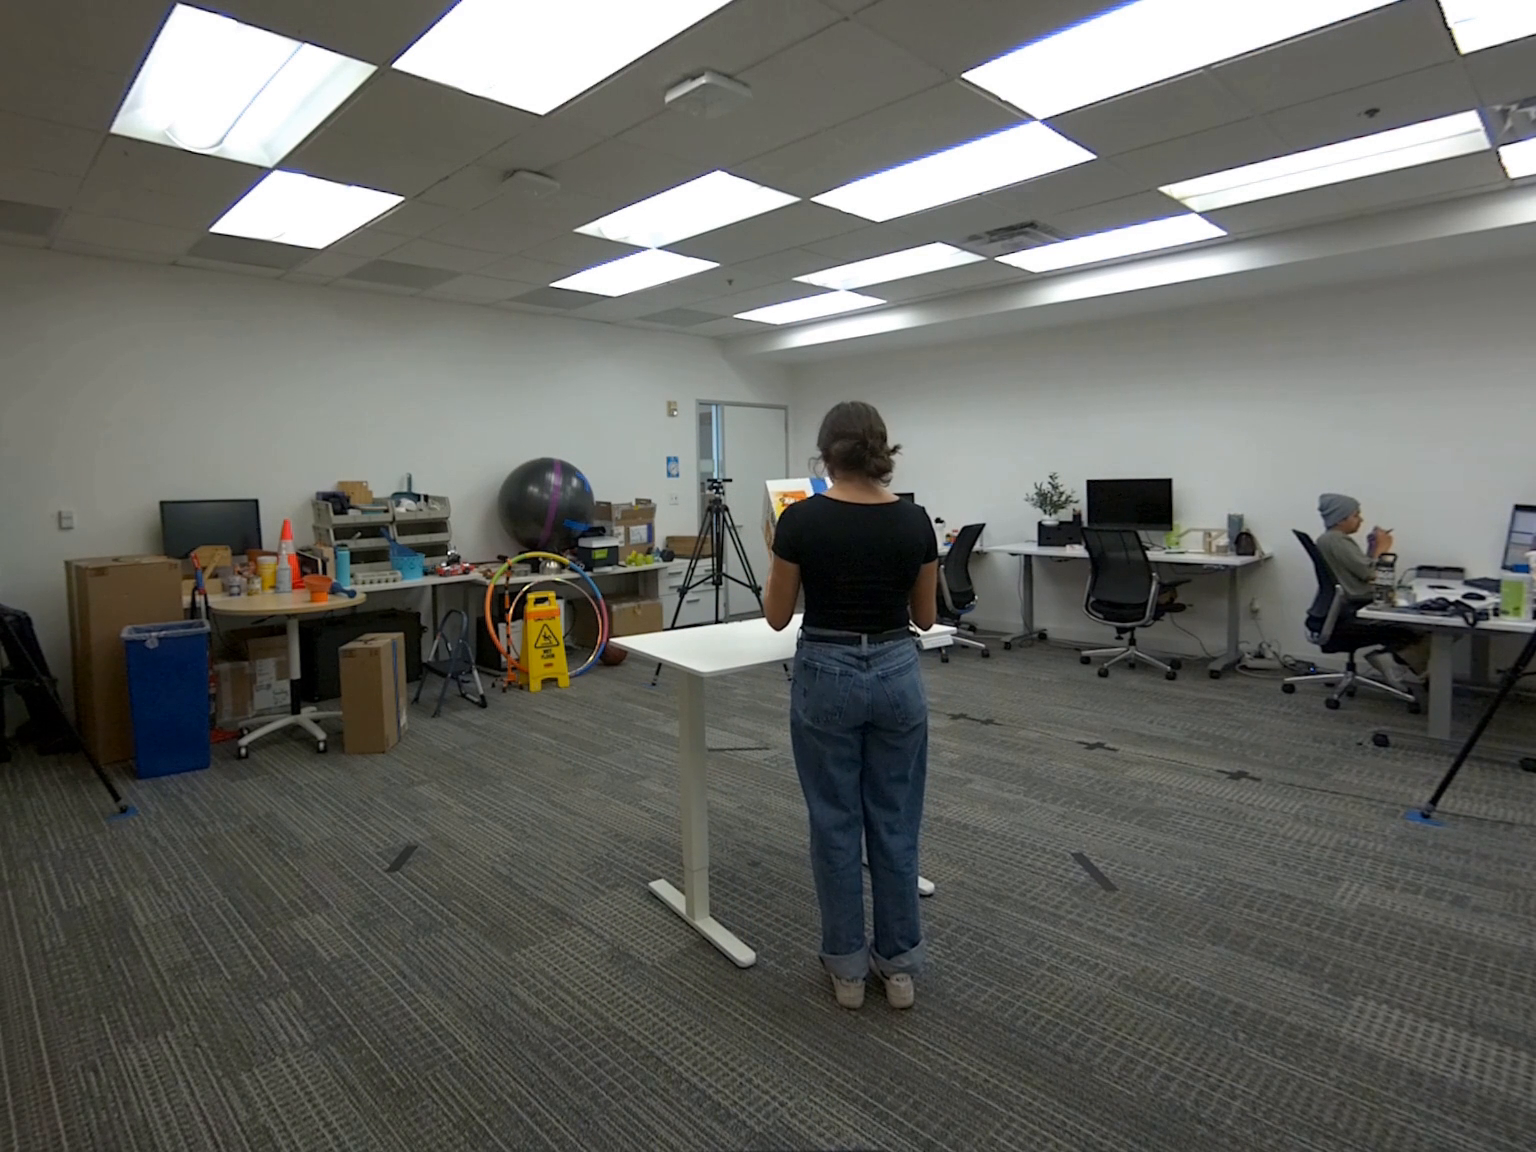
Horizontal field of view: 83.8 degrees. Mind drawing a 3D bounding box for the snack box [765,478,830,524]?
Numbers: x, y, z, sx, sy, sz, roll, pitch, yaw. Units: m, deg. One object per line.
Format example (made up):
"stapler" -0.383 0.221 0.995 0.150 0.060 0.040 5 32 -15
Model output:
"snack box" 0.192 -0.102 2.626 0.338 0.200 0.418 -4 42 -8
